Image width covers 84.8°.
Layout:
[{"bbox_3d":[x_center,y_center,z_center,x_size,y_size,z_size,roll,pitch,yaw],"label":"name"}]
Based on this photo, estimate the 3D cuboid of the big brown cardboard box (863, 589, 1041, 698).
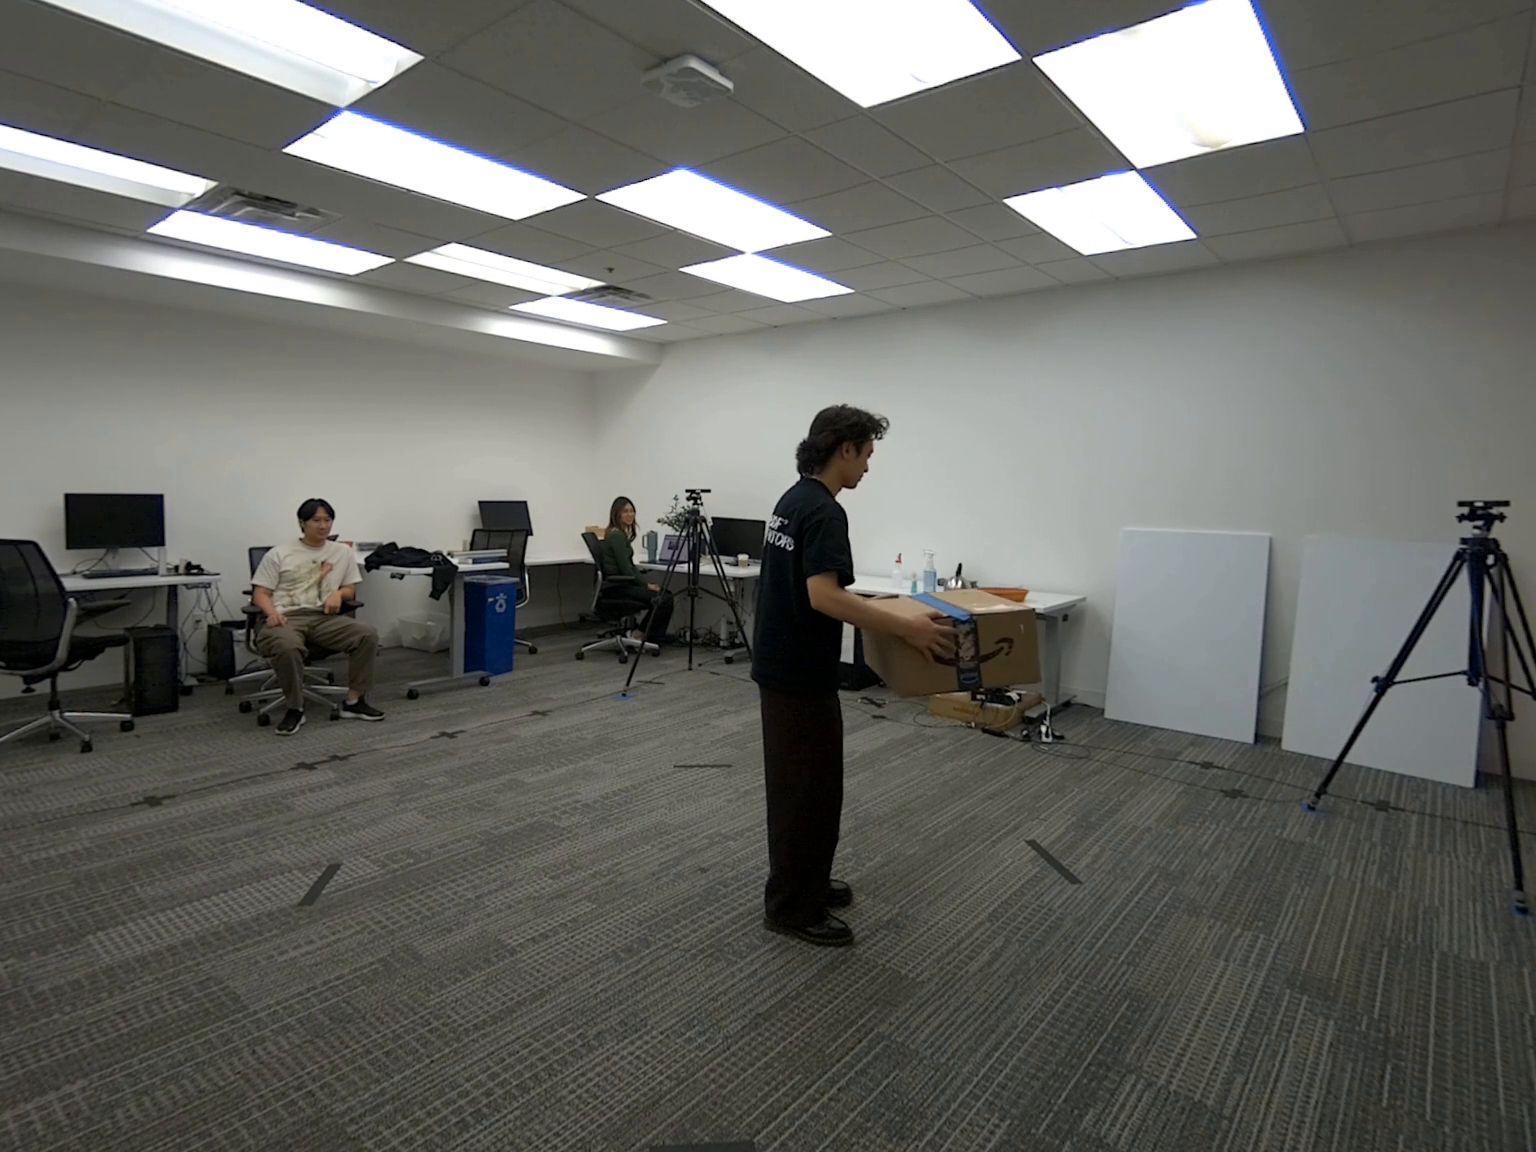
[{"bbox_3d":[0.528,0.192,2.710,0.417,0.232,0.592,-7,5,-3],"label":"big brown cardboard box"}]
